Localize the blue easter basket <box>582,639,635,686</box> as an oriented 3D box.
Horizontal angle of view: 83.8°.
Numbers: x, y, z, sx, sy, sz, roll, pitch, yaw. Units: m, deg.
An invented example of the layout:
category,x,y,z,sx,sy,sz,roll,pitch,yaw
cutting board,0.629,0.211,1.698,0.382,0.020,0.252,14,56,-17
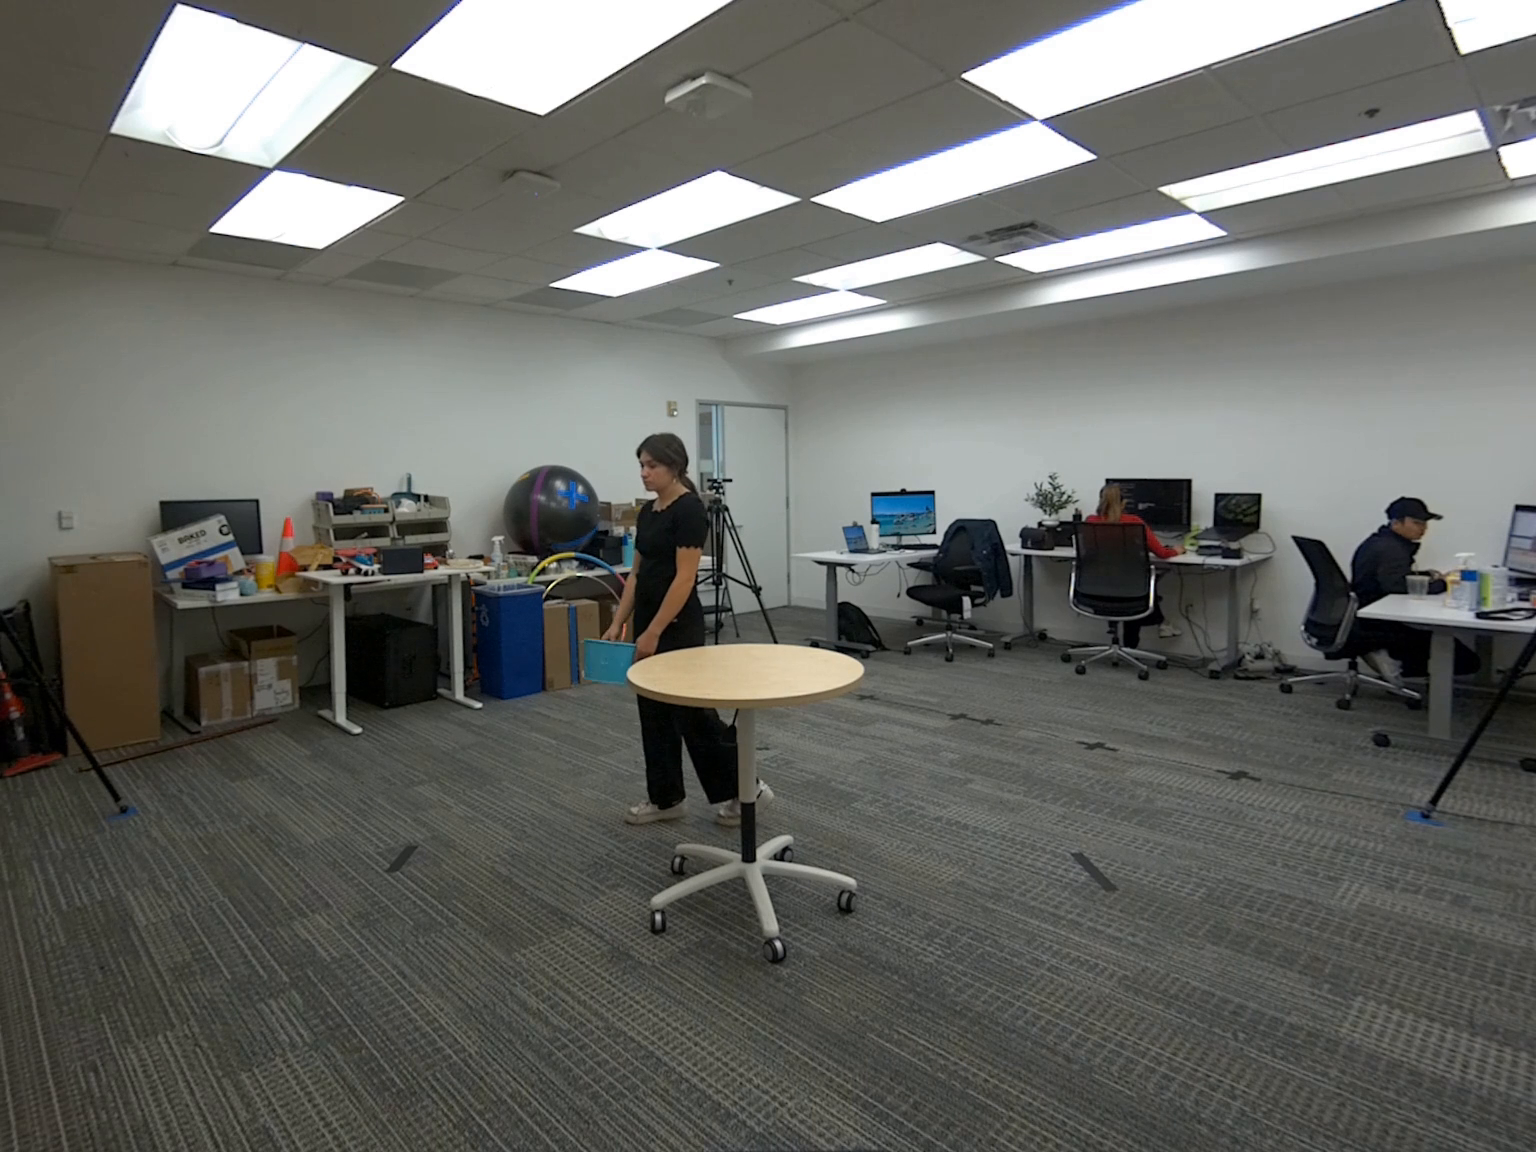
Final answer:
category,x,y,z,sx,sy,sz,roll,pitch,yaw
blue easter basket,-0.600,0.336,3.343,0.243,0.156,0.243,6,-2,-1
